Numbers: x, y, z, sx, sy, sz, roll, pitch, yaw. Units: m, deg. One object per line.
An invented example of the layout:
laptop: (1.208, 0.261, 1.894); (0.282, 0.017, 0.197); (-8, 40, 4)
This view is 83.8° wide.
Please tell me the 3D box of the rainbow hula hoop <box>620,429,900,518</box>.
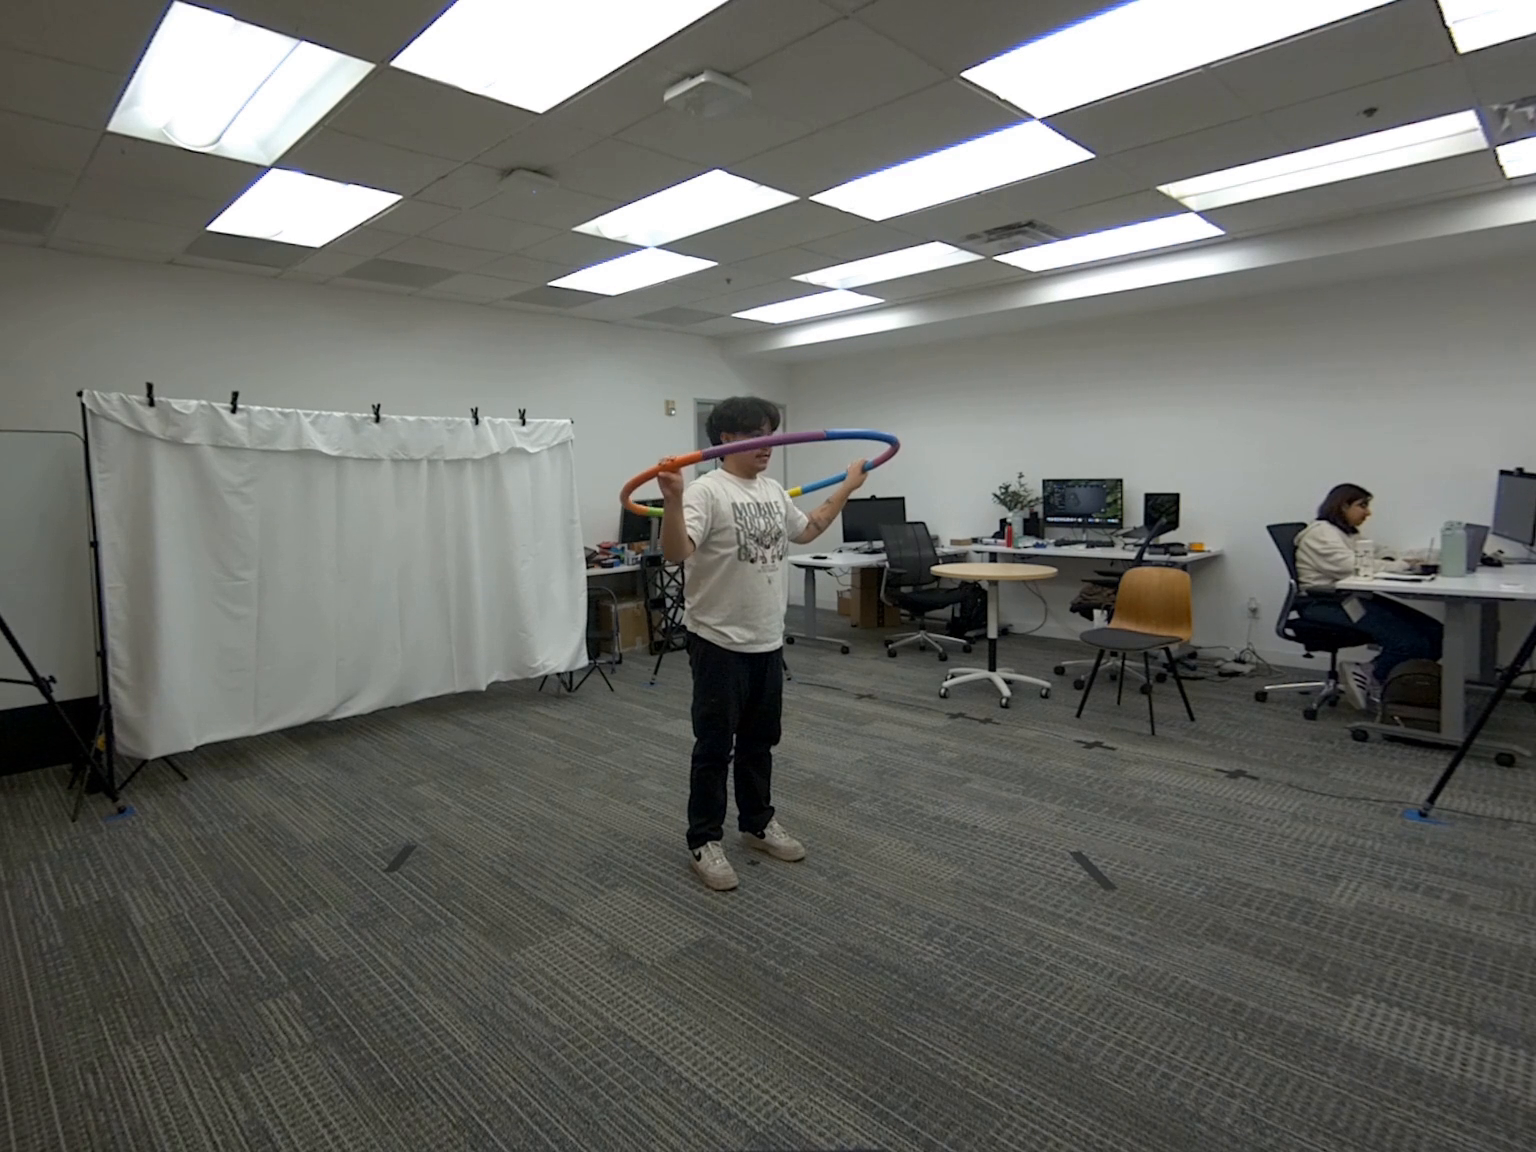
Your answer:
rainbow hula hoop: (-0.037, -0.344, 2.985); (0.983, 0.052, 0.979); (-11, -5, -3)
